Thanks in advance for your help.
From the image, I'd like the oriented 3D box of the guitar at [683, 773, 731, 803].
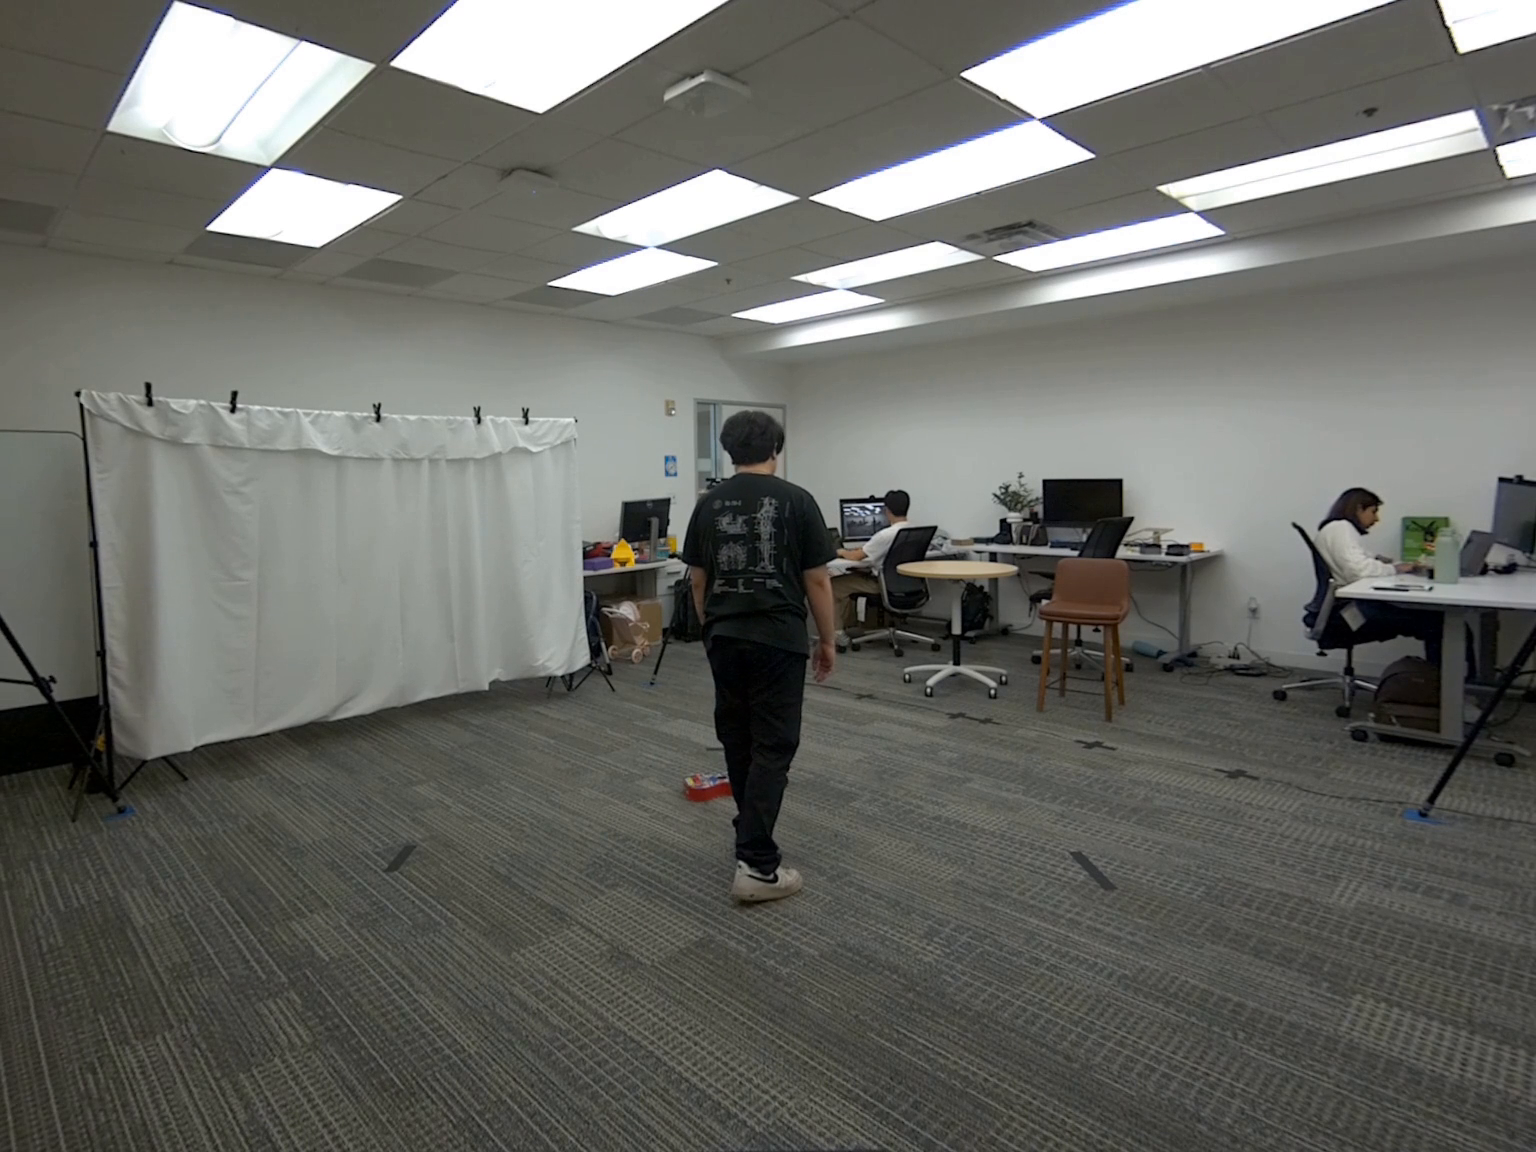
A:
[{"bbox_3d":[-0.128,0.926,3.821,0.495,0.070,0.195,-3,5,-7],"label":"guitar"}]
